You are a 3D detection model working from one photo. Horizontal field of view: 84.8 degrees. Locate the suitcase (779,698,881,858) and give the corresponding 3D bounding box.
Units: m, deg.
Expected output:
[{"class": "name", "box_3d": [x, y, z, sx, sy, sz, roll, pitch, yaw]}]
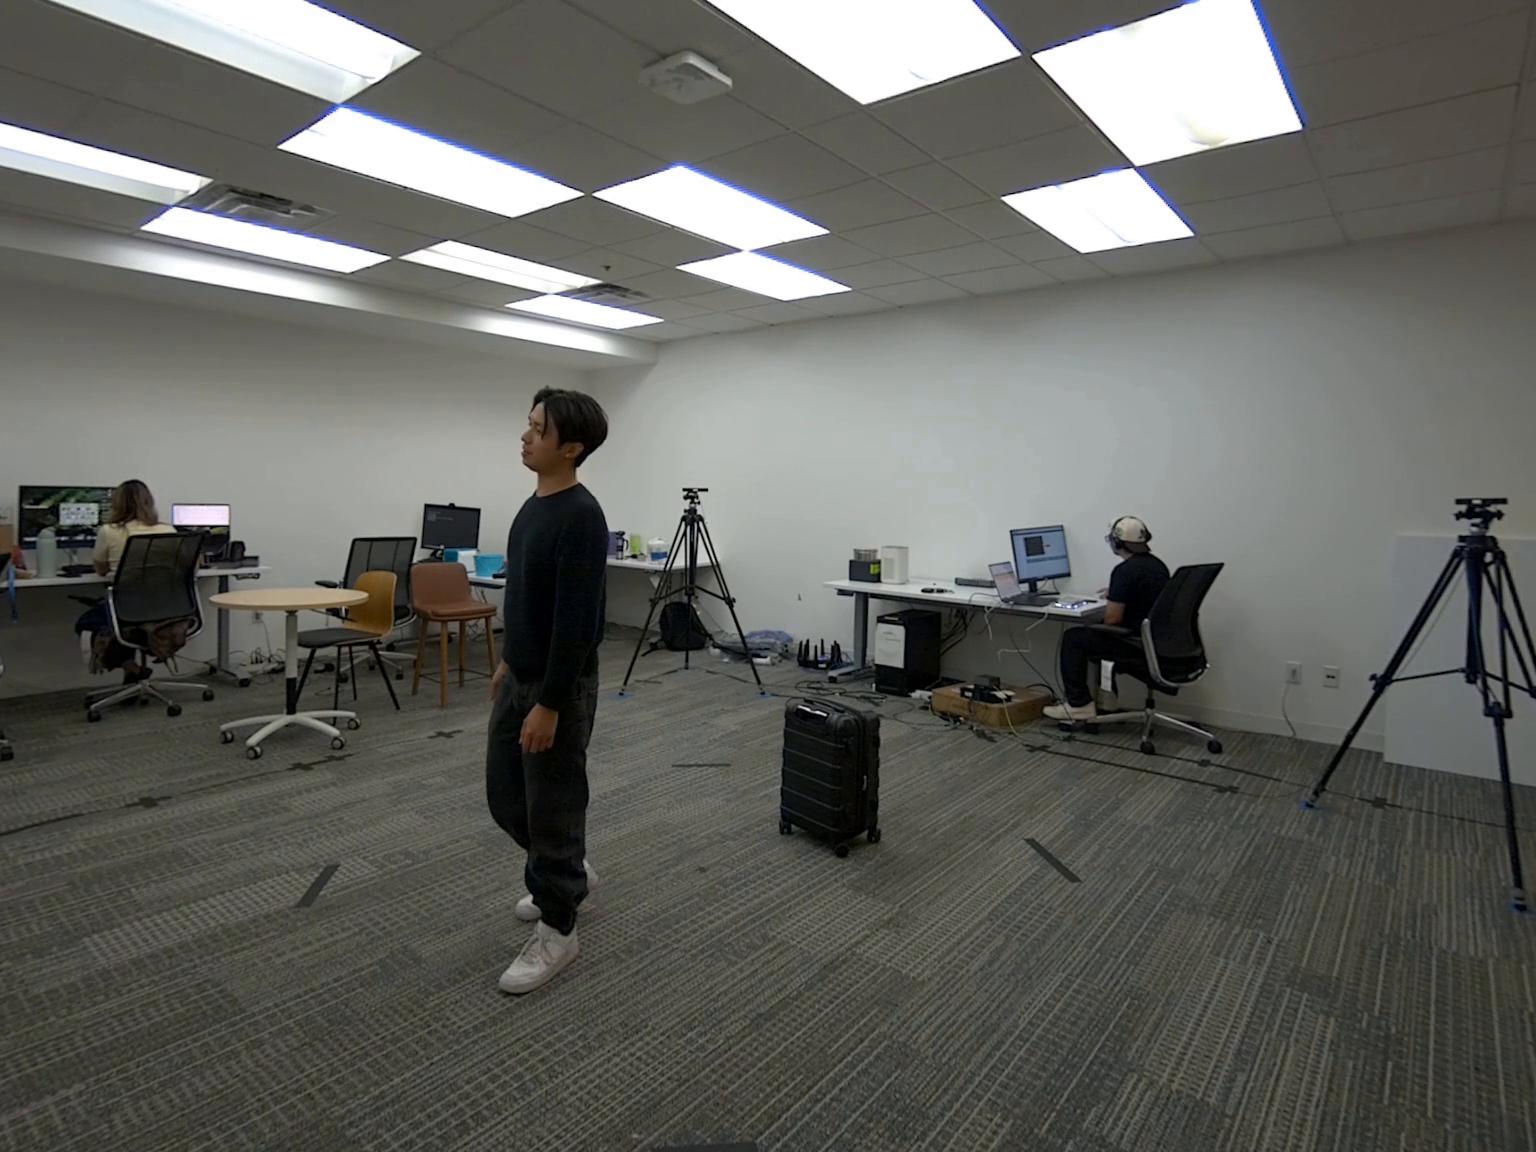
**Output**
[{"class": "suitcase", "box_3d": [0.241, 0.771, 3.424, 0.241, 0.548, 0.388, -1, 4, -41]}]
